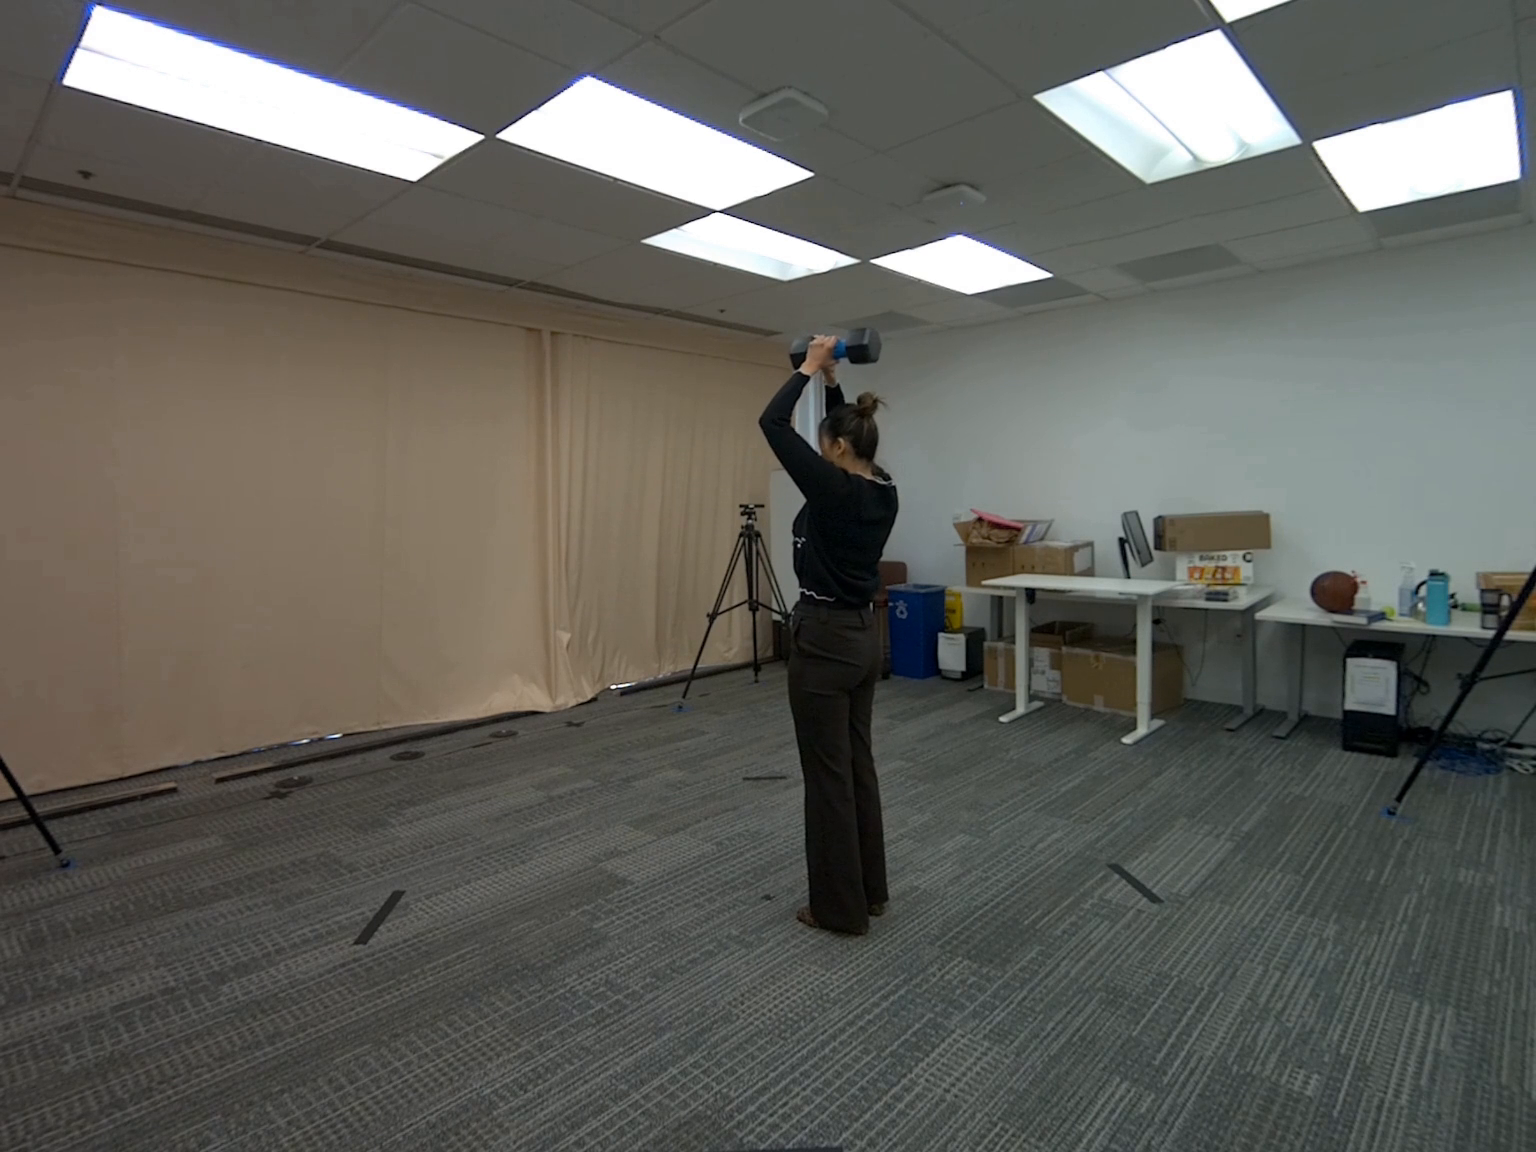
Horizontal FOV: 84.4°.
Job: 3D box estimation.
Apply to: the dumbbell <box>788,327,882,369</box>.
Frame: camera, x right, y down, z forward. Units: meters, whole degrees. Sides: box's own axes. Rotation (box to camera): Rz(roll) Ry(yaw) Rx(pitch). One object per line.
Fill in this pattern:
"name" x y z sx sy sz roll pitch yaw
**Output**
"dumbbell" 0.219 -0.736 2.735 0.303 0.123 0.105 3 -20 36
